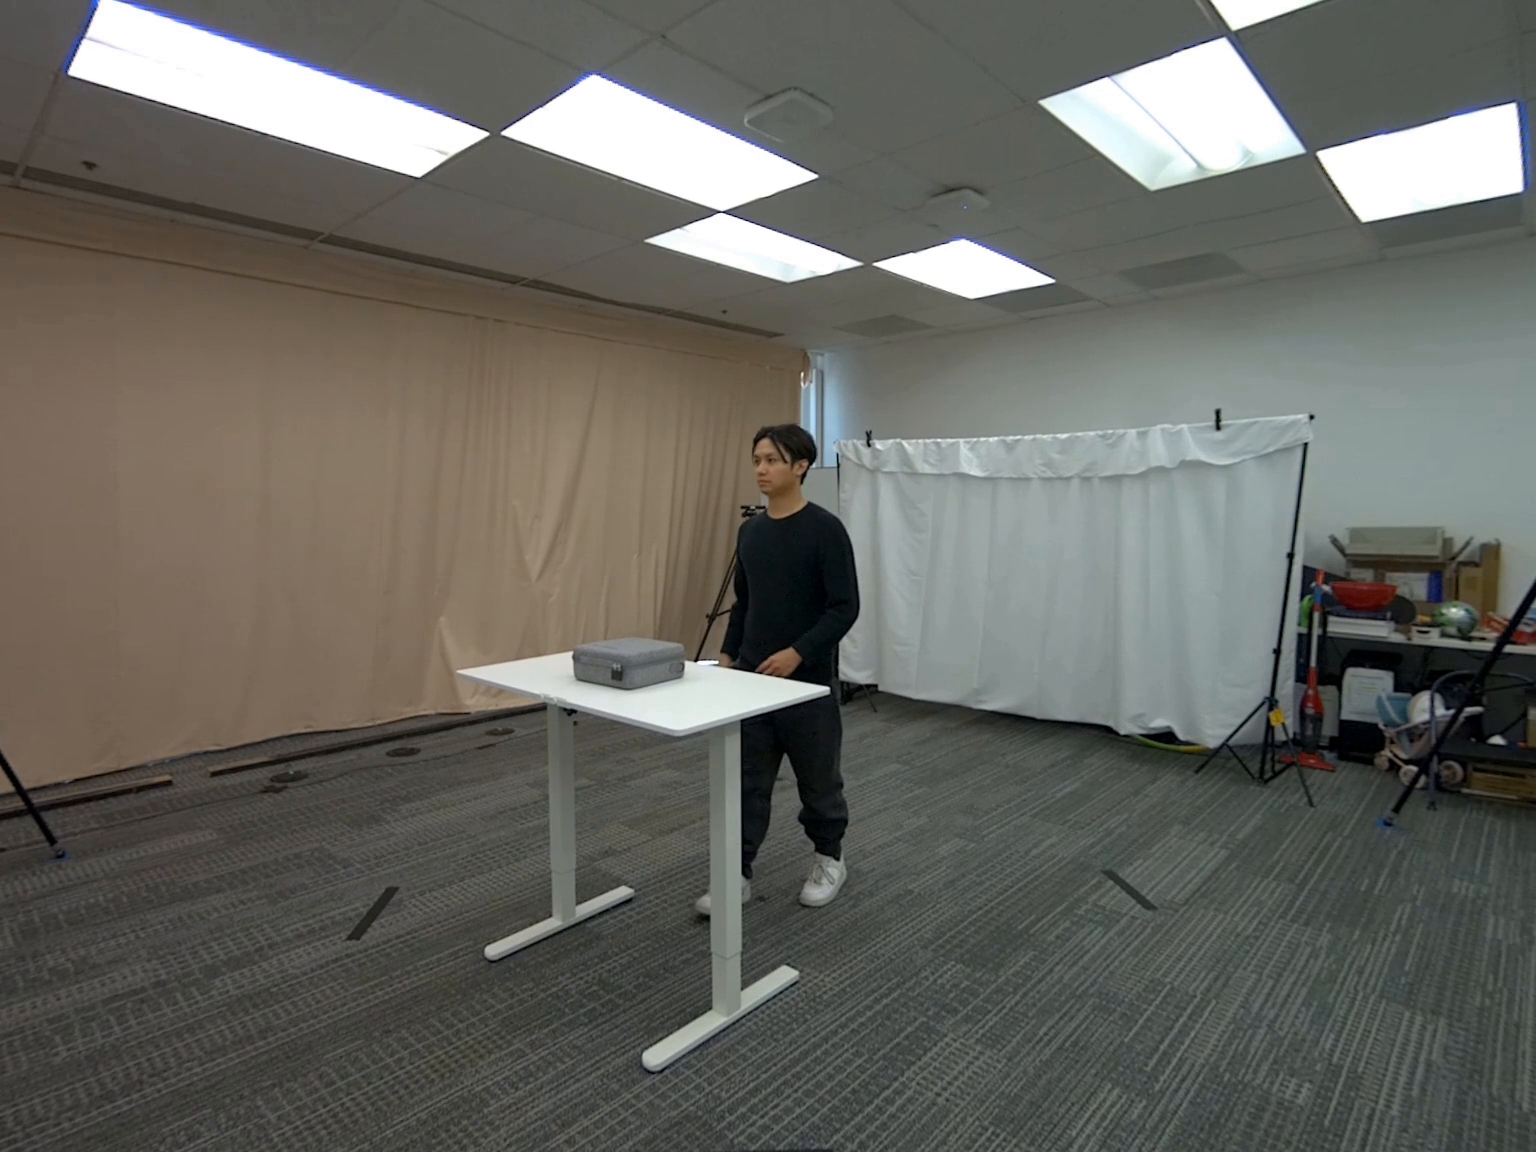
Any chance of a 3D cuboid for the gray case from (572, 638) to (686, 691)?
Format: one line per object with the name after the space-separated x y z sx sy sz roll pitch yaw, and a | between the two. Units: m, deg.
-0.409 0.255 2.498 0.265 0.104 0.253 3 5 38 | gray case
